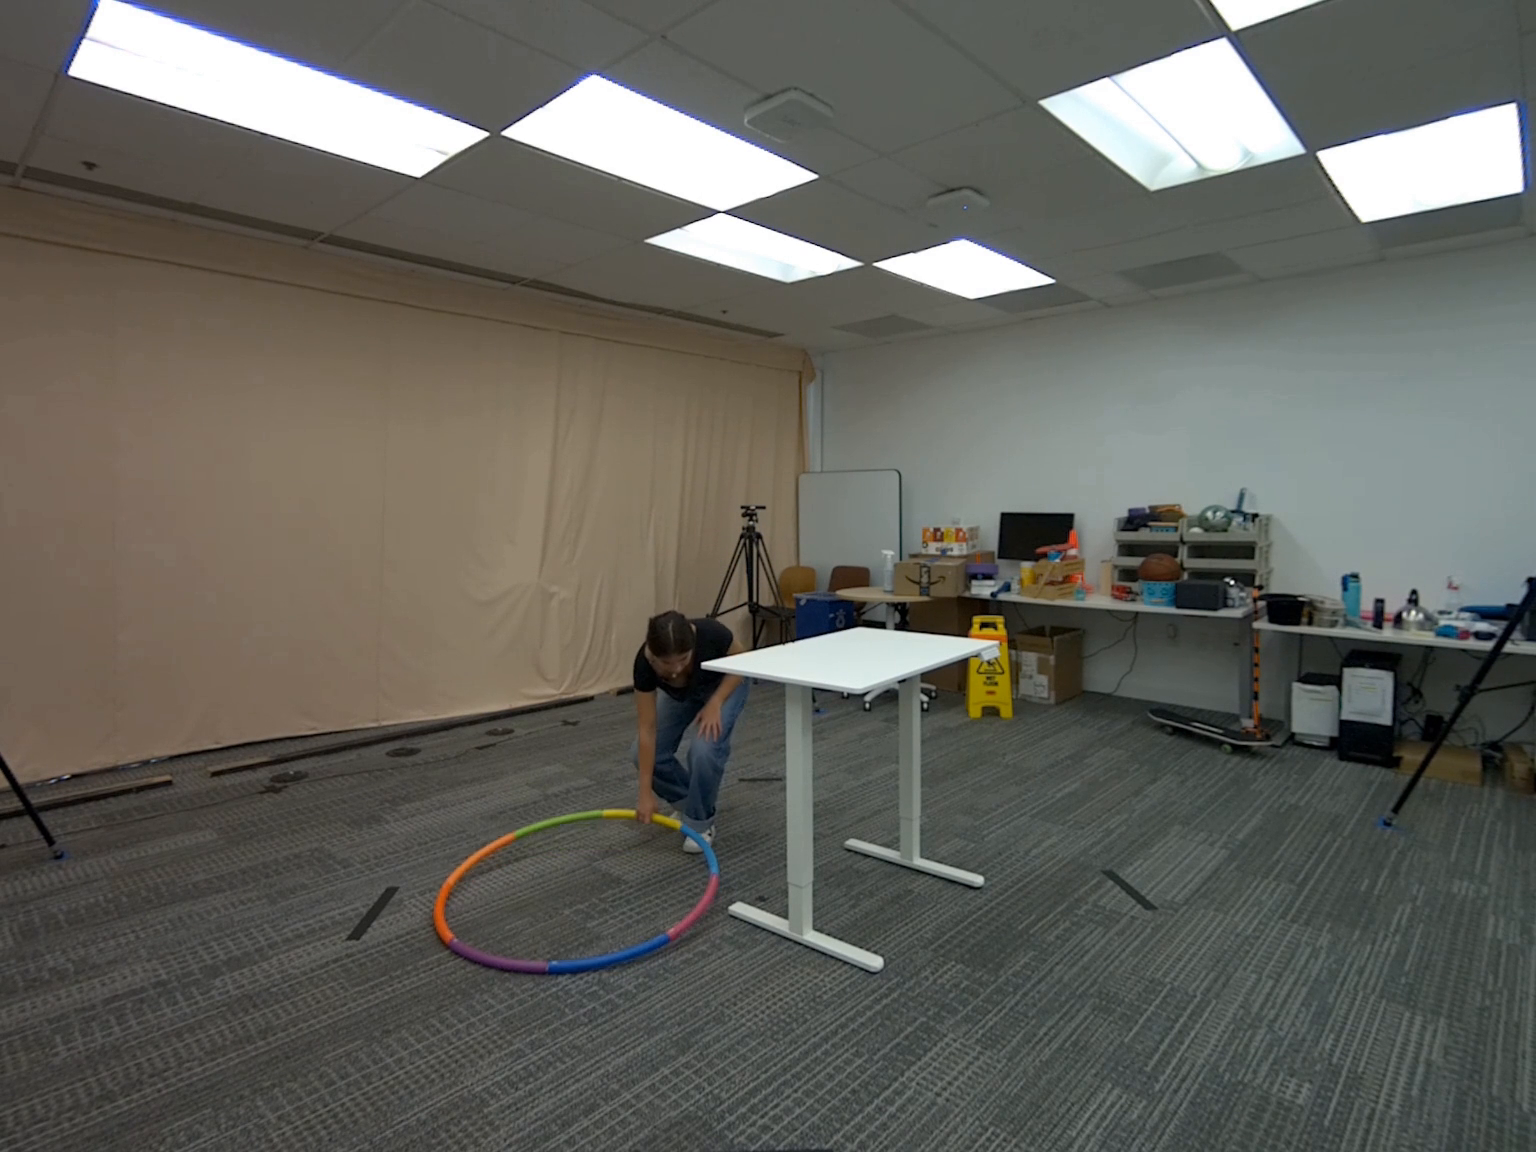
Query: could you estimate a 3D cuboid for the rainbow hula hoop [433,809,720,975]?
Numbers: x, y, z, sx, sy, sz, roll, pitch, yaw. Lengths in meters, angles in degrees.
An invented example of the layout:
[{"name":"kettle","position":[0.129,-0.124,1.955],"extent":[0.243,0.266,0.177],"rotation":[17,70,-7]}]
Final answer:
[{"name":"rainbow hula hoop","position":[-0.656,1.069,2.974],"extent":[0.978,0.035,0.986],"rotation":[-4,11,-1]}]
